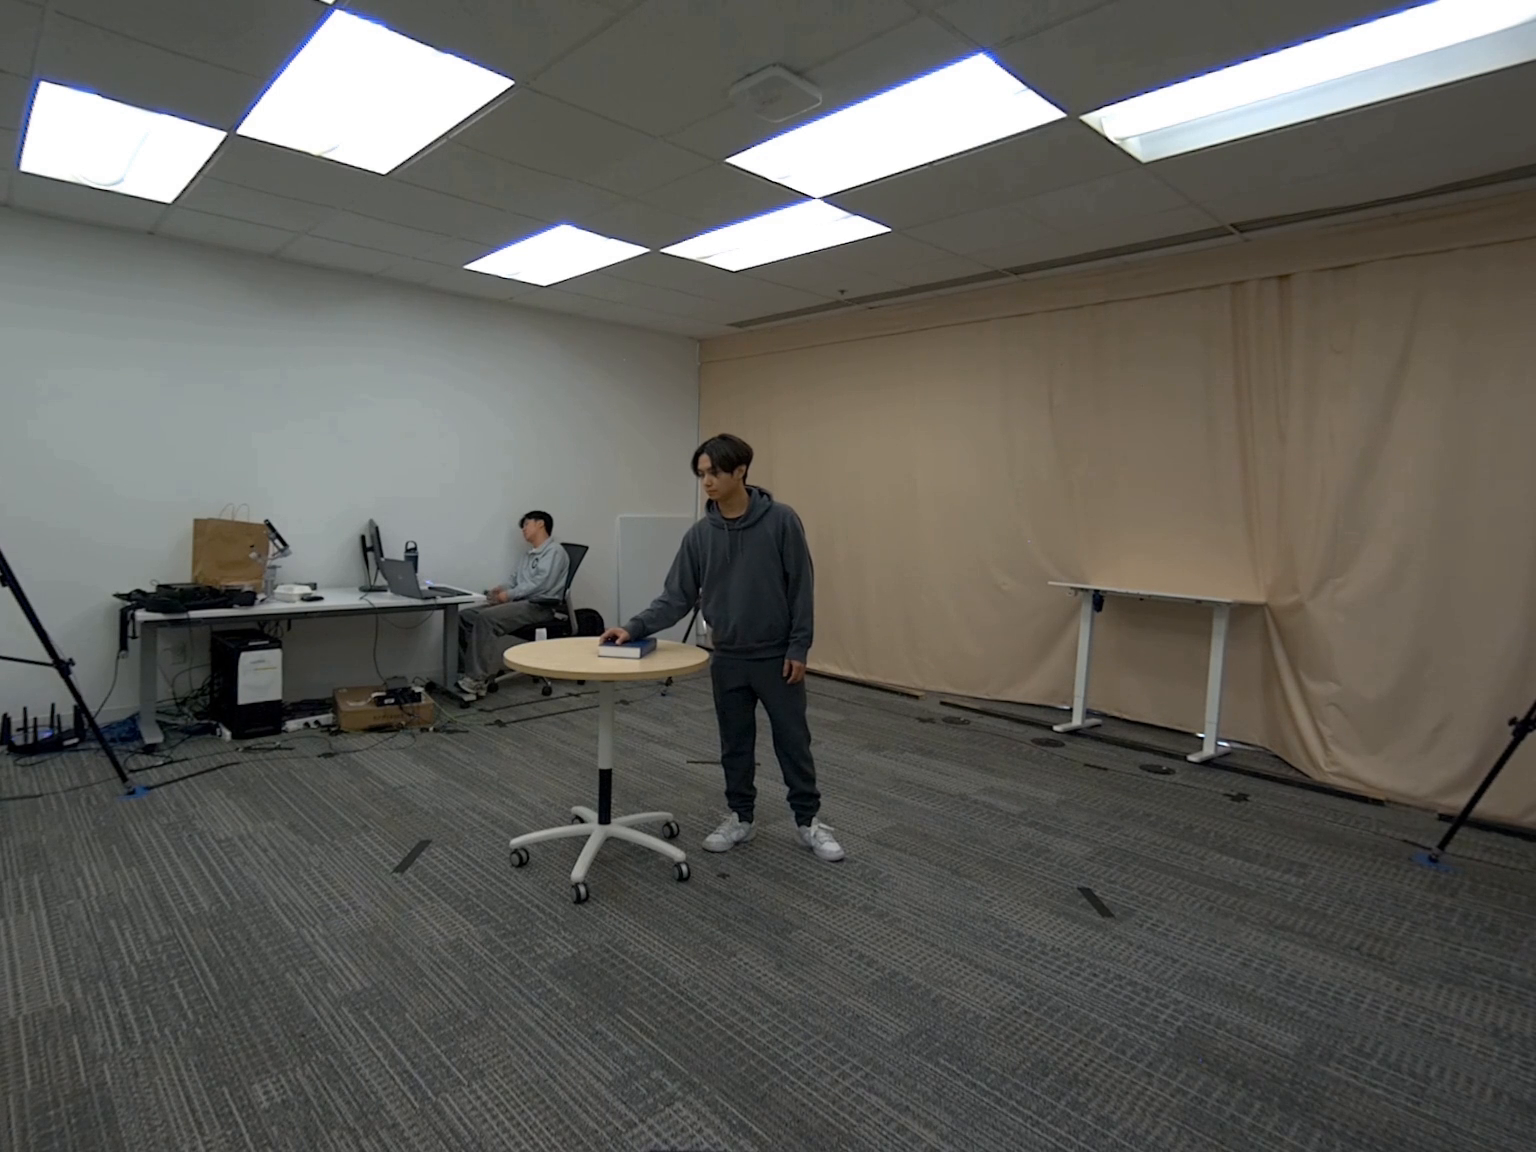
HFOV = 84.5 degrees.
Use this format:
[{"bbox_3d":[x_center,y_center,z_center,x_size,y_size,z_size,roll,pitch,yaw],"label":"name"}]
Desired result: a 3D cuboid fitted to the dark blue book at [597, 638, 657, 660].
[{"bbox_3d":[-0.534,0.273,3.201,0.164,0.045,0.244,1,5,8],"label":"dark blue book"}]
